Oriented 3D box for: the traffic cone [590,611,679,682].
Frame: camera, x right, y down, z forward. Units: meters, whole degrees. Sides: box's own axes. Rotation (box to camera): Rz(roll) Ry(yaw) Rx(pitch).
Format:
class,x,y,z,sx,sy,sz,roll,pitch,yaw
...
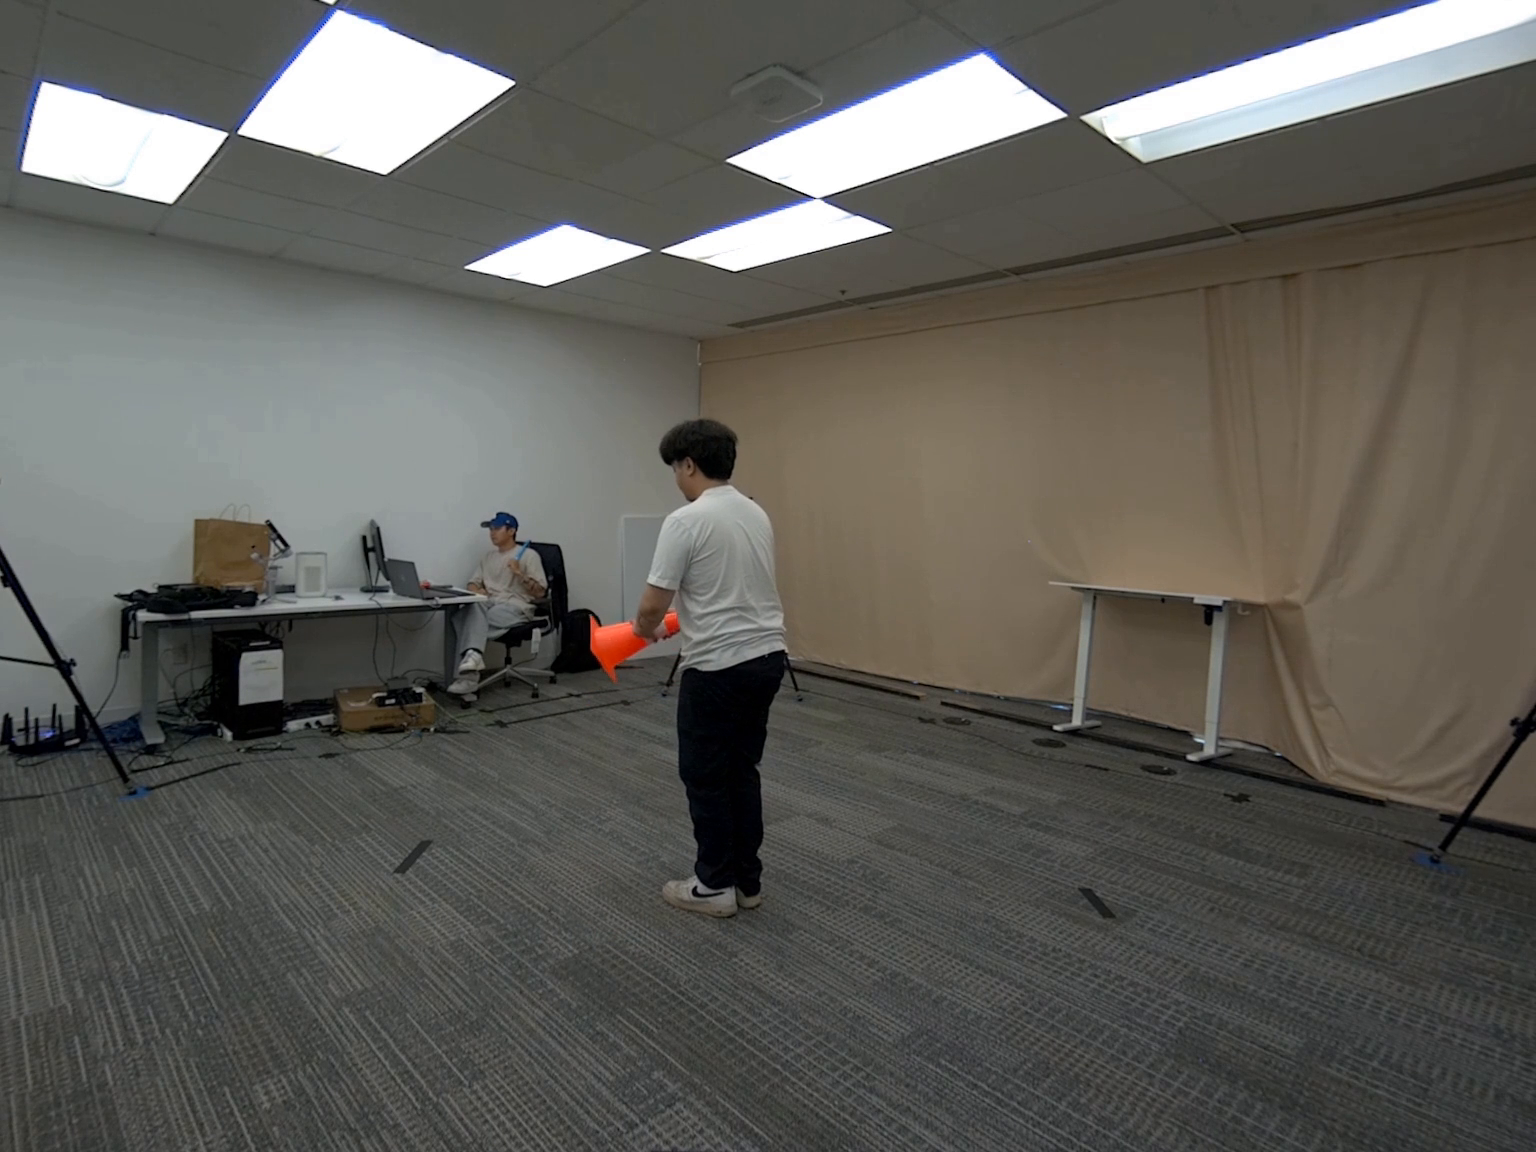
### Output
class,x,y,z,sx,sy,sz,roll,pitch,yaw
traffic cone,-0.443,0.211,3.097,0.384,0.199,0.209,-19,42,4
